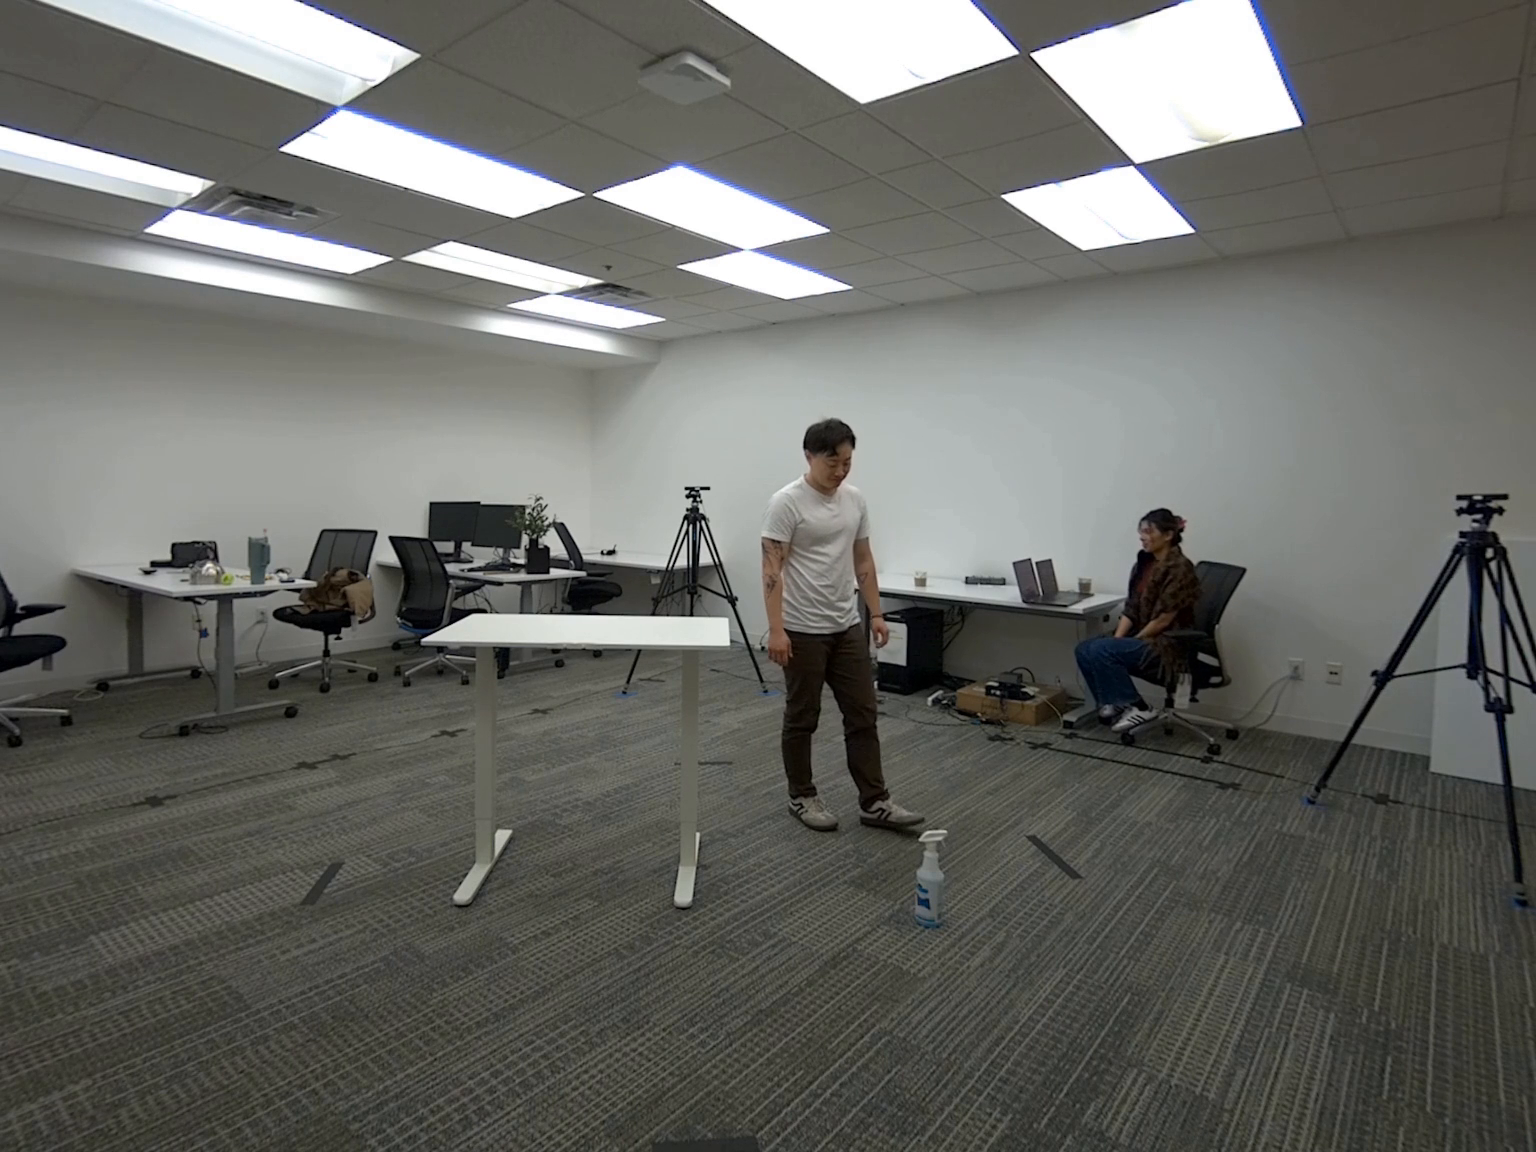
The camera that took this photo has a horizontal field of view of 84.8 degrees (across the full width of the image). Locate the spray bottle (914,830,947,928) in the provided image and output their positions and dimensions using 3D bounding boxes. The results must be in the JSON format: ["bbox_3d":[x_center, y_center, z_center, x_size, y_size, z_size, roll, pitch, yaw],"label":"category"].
[{"bbox_3d":[0.517,0.977,2.745,0.092,0.296,0.085,3,5,22],"label":"spray bottle"}]
